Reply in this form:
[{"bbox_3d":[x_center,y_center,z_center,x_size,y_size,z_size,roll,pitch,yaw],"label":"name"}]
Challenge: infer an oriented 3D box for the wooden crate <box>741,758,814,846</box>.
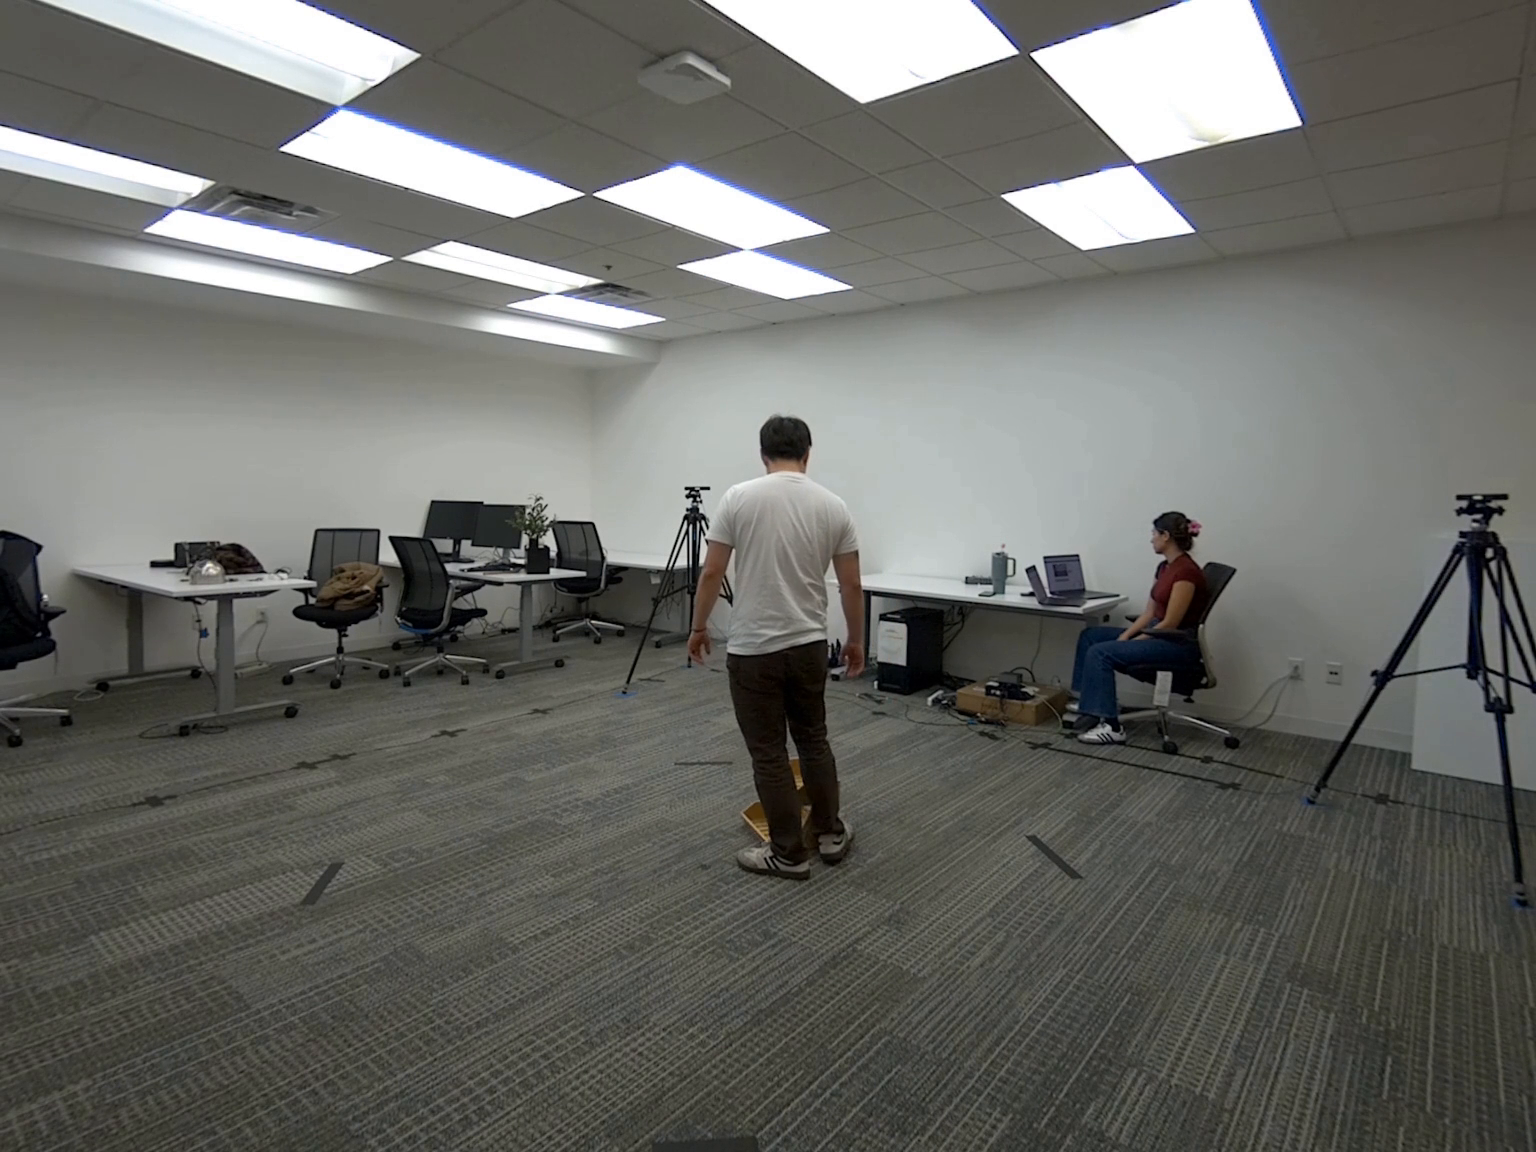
[{"bbox_3d":[0.062,0.897,3.419,0.296,0.272,0.332,0,5,-19],"label":"wooden crate"}]
